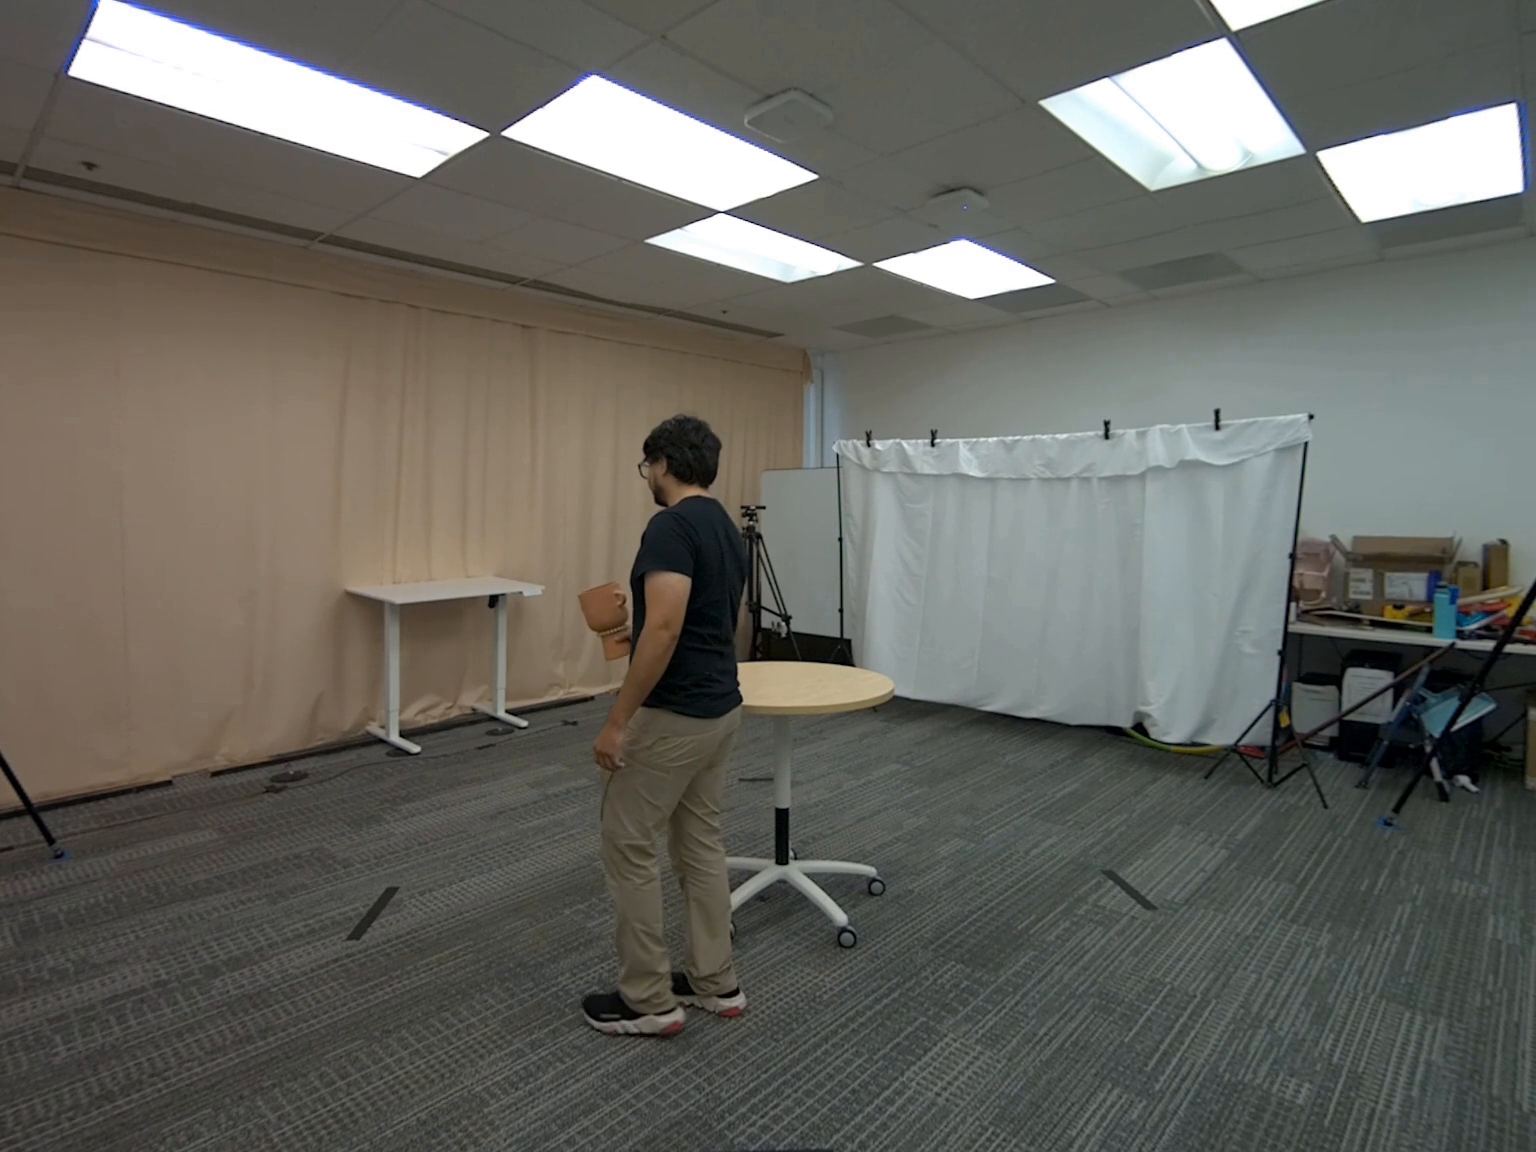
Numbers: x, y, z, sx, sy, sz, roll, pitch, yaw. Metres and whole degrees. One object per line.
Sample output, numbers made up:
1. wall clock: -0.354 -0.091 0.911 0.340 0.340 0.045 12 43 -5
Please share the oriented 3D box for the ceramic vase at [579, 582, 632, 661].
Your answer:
1. ceramic vase: -0.481 0.142 2.590 0.133 0.219 0.161 -18 2 -12
